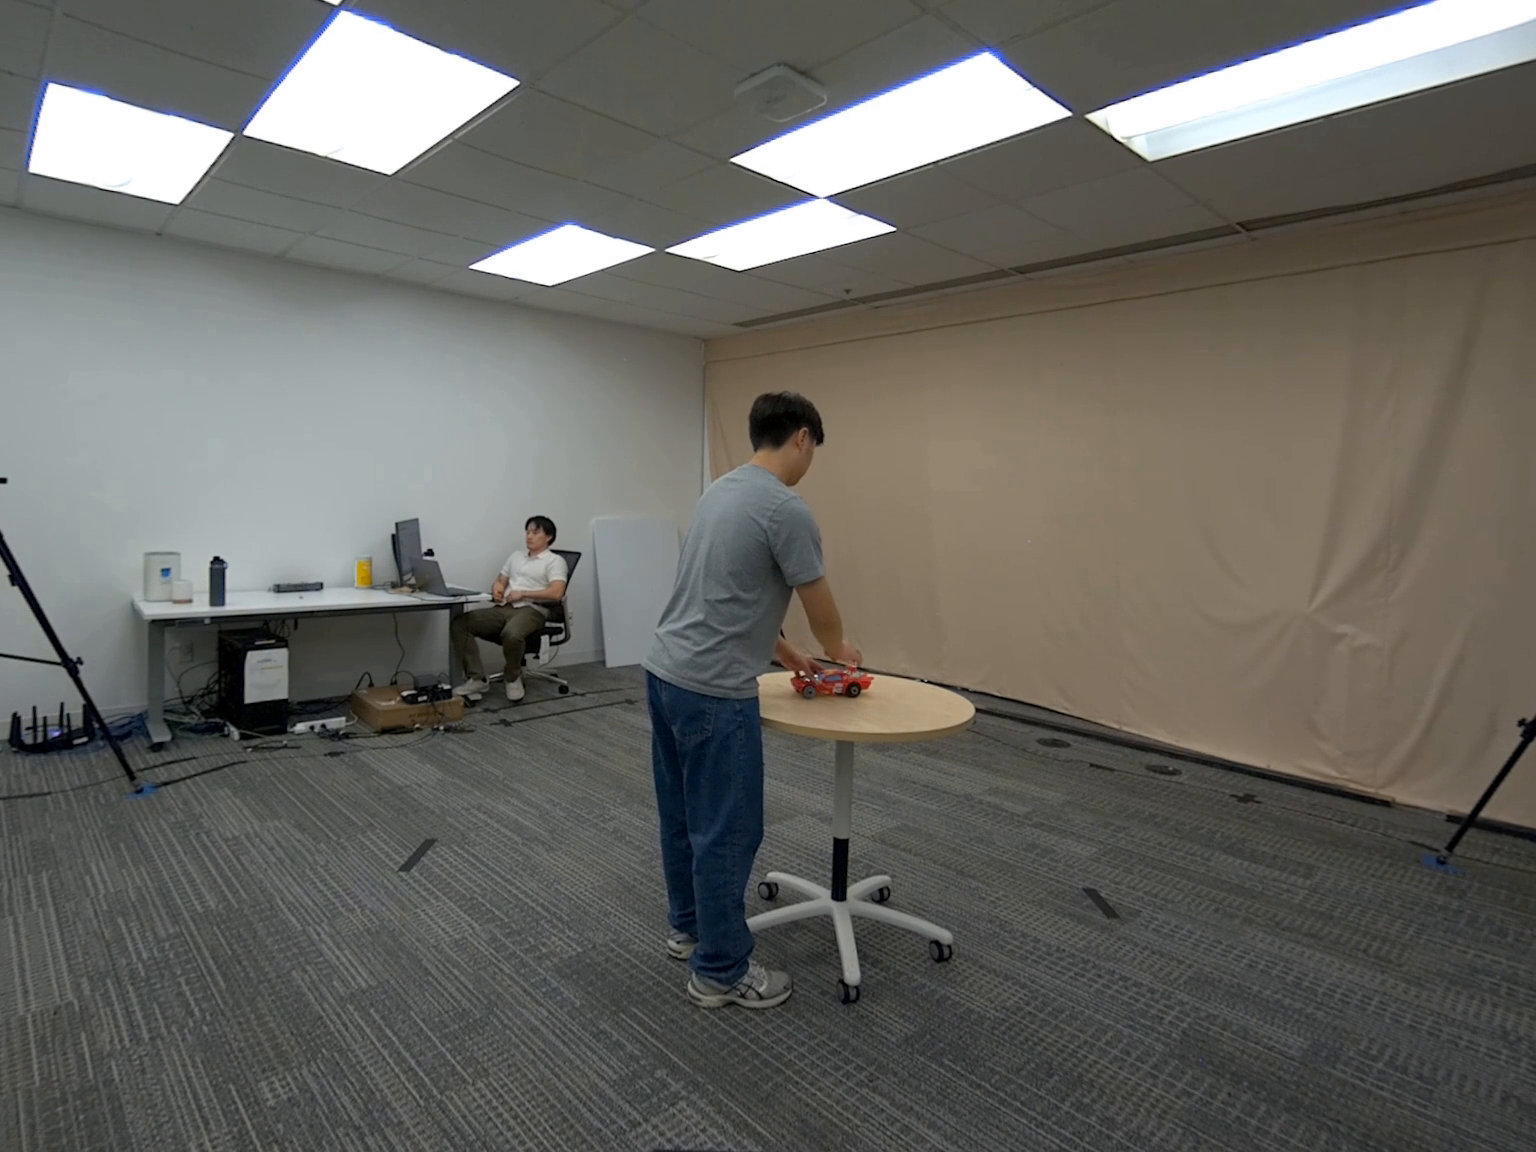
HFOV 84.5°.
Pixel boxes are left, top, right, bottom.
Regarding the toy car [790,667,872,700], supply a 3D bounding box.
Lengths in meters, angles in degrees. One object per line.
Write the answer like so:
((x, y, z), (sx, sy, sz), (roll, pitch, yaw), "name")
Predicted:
((0.209, 0.344, 2.637), (0.253, 0.082, 0.132), (-12, 9, -11), "toy car")
